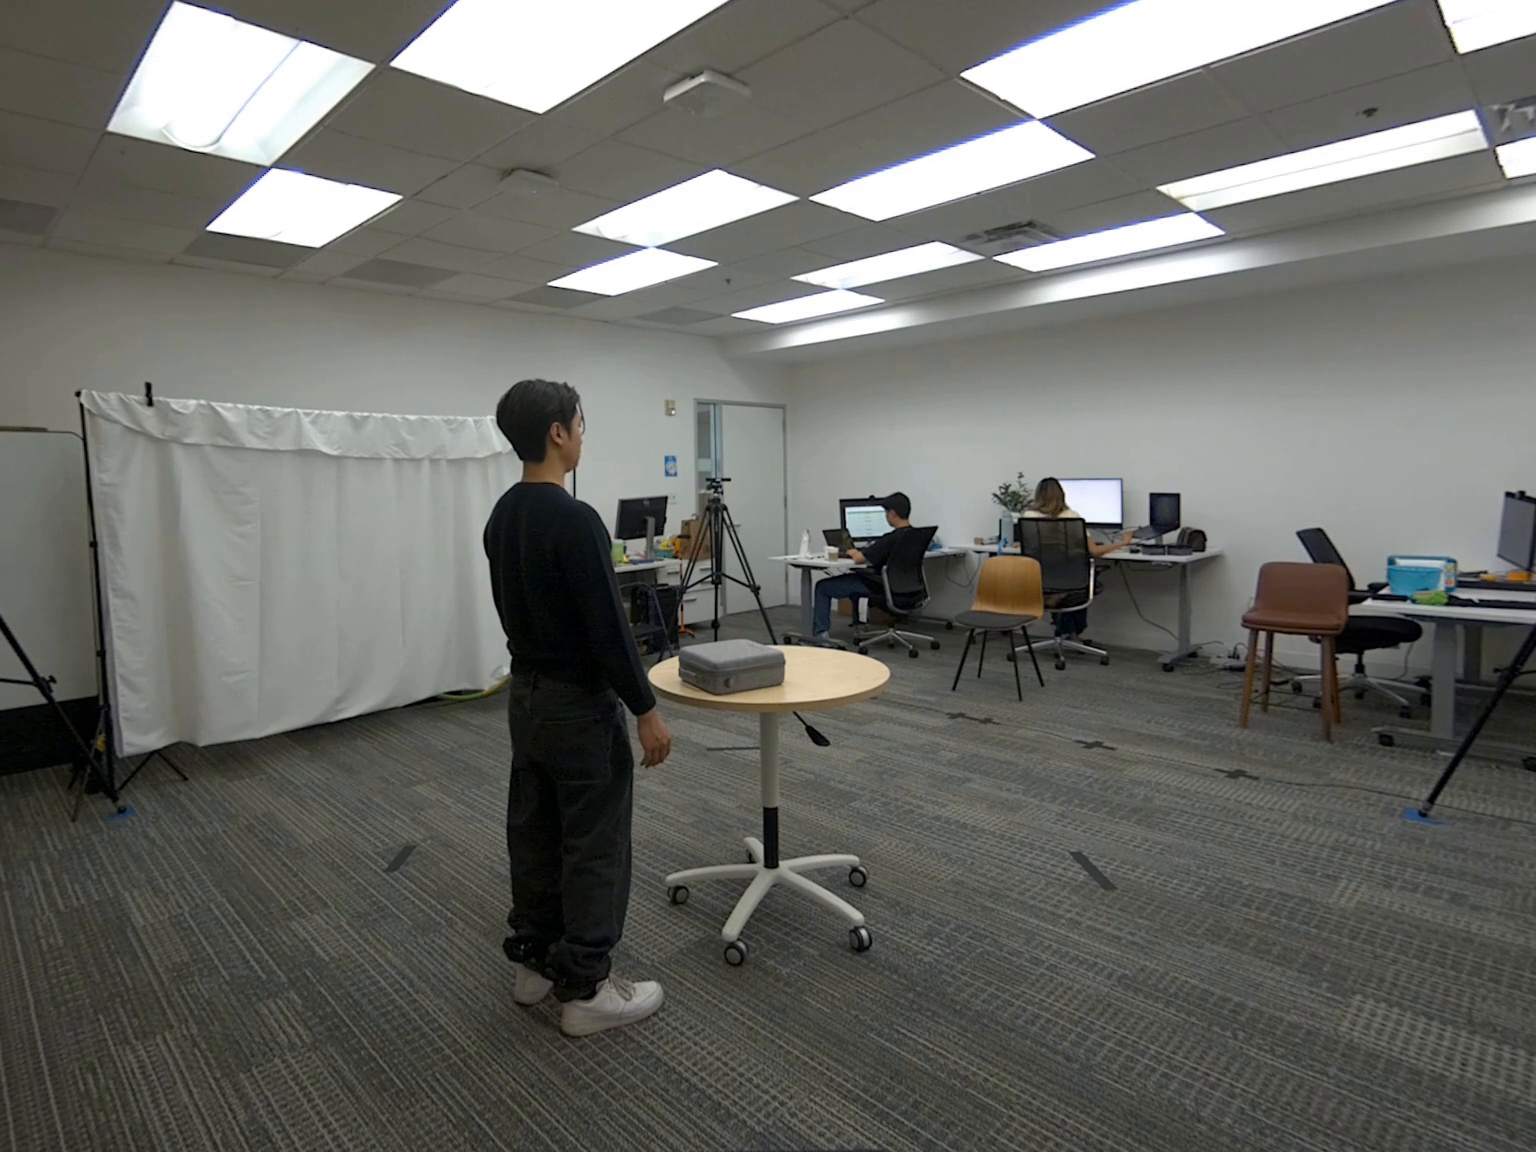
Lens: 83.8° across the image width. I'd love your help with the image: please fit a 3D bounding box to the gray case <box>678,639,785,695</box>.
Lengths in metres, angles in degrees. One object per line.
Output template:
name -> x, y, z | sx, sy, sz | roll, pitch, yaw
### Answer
gray case -> -0.103, 0.268, 2.579 | 0.255, 0.103, 0.264 | -6, 10, -31
